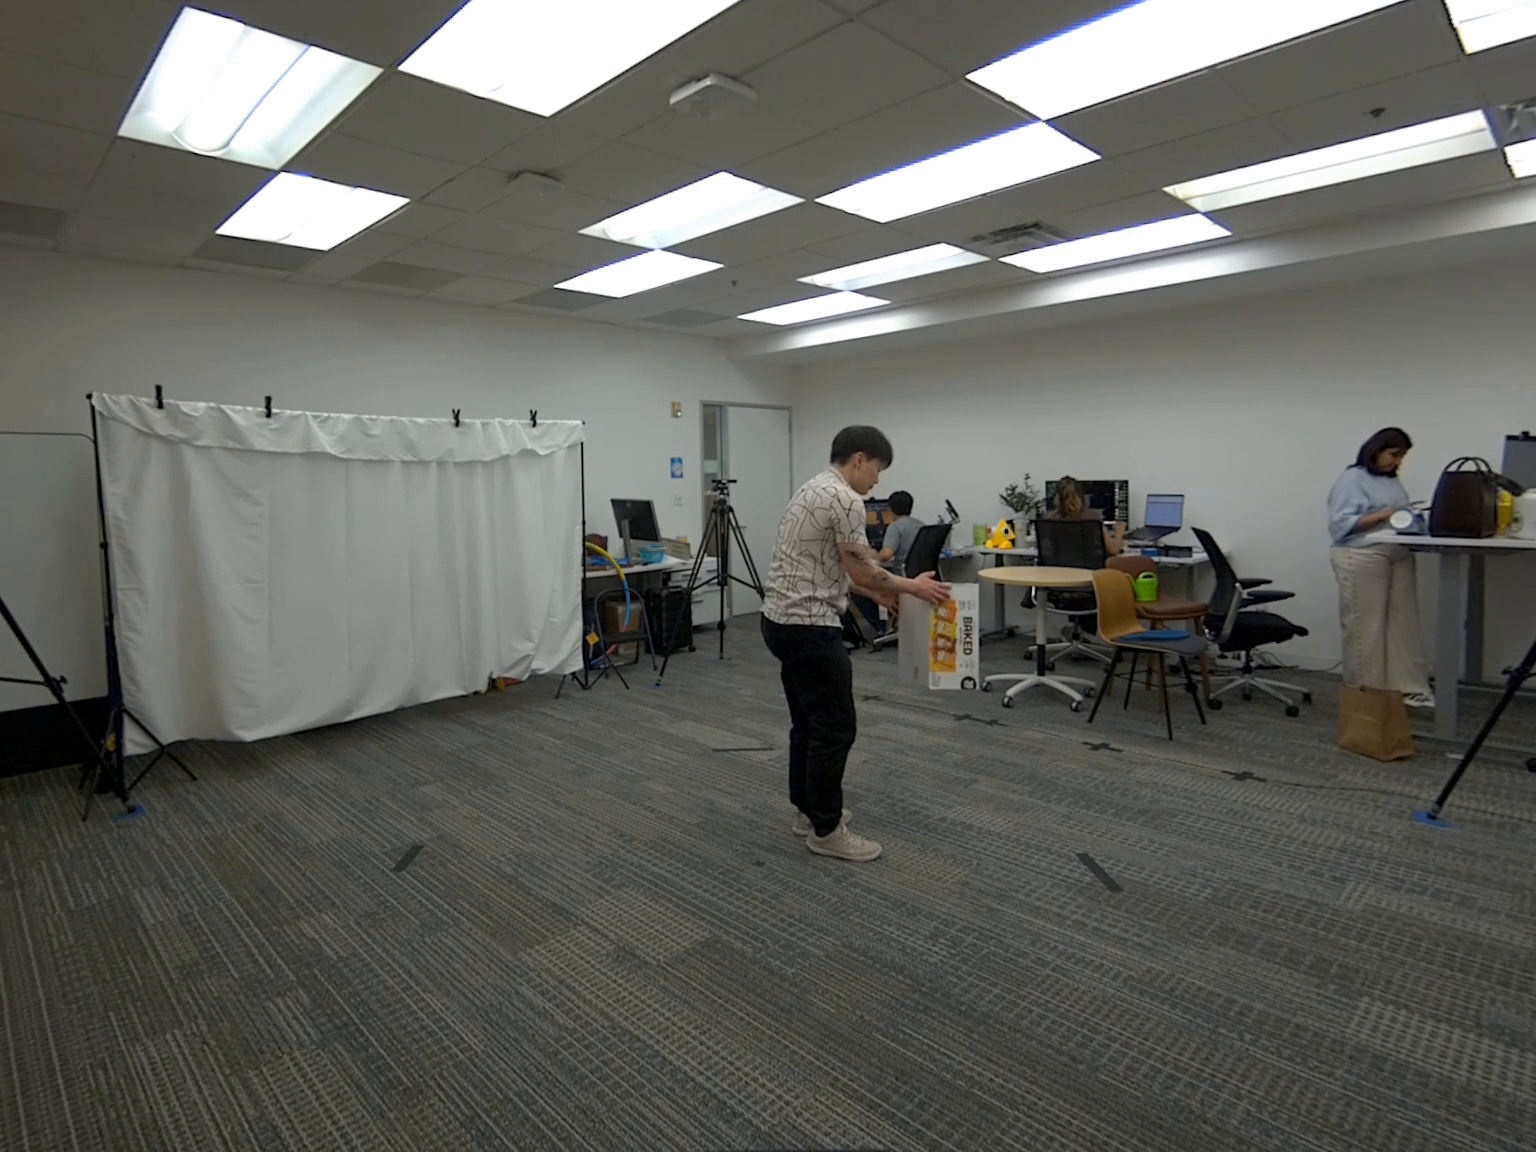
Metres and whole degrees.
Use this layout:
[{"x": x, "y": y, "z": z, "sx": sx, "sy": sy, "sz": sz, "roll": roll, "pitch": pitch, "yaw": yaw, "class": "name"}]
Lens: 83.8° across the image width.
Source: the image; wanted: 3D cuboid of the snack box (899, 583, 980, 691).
[{"x": 0.674, "y": 0.233, "z": 3.441, "sx": 0.204, "sy": 0.407, "sz": 0.342, "roll": 2, "pitch": -4, "yaw": -10, "class": "snack box"}]
